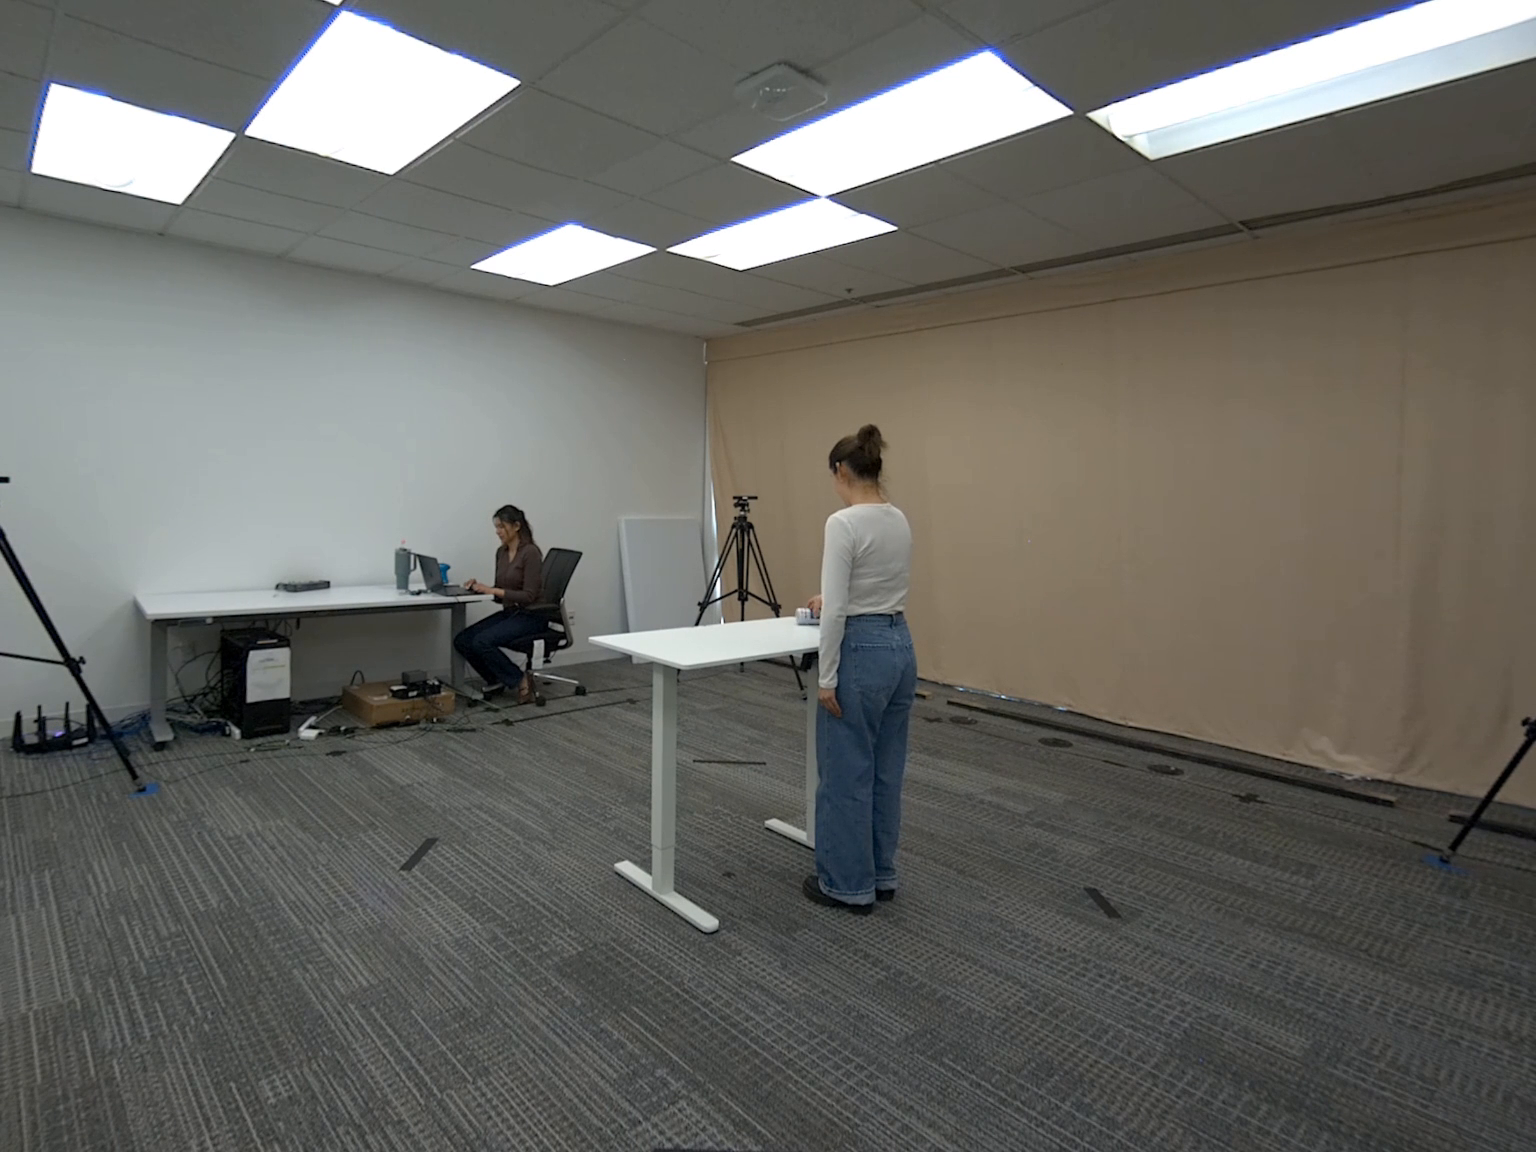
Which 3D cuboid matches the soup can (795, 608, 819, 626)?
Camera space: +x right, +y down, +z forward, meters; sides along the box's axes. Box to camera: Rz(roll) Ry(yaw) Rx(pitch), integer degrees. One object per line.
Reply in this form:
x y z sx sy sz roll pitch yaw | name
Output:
0.145 0.168 3.392 0.067 0.067 0.121 2 4 5 | soup can
